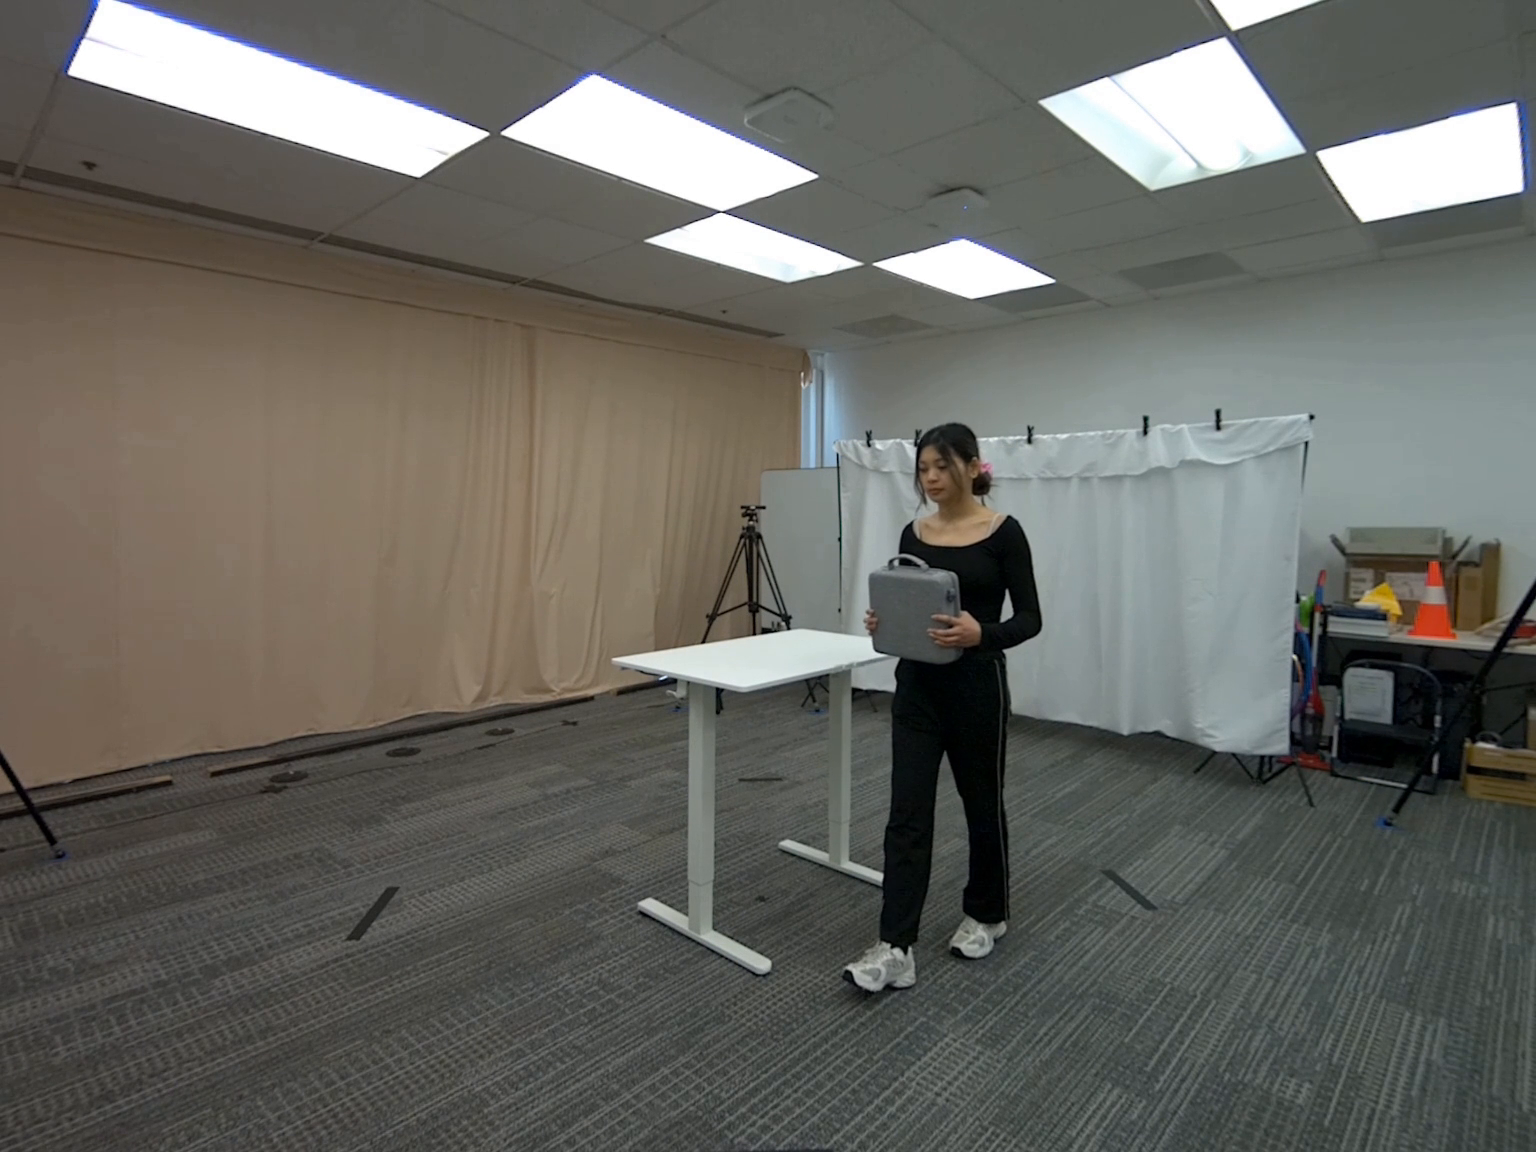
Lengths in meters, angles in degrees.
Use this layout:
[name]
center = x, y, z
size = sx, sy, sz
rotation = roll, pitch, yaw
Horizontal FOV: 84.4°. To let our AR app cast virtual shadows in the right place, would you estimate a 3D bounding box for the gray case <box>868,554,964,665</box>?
[gray case]
center = 0.415, 0.103, 2.367
size = 0.102, 0.258, 0.265
rotation = -16, 14, -41
